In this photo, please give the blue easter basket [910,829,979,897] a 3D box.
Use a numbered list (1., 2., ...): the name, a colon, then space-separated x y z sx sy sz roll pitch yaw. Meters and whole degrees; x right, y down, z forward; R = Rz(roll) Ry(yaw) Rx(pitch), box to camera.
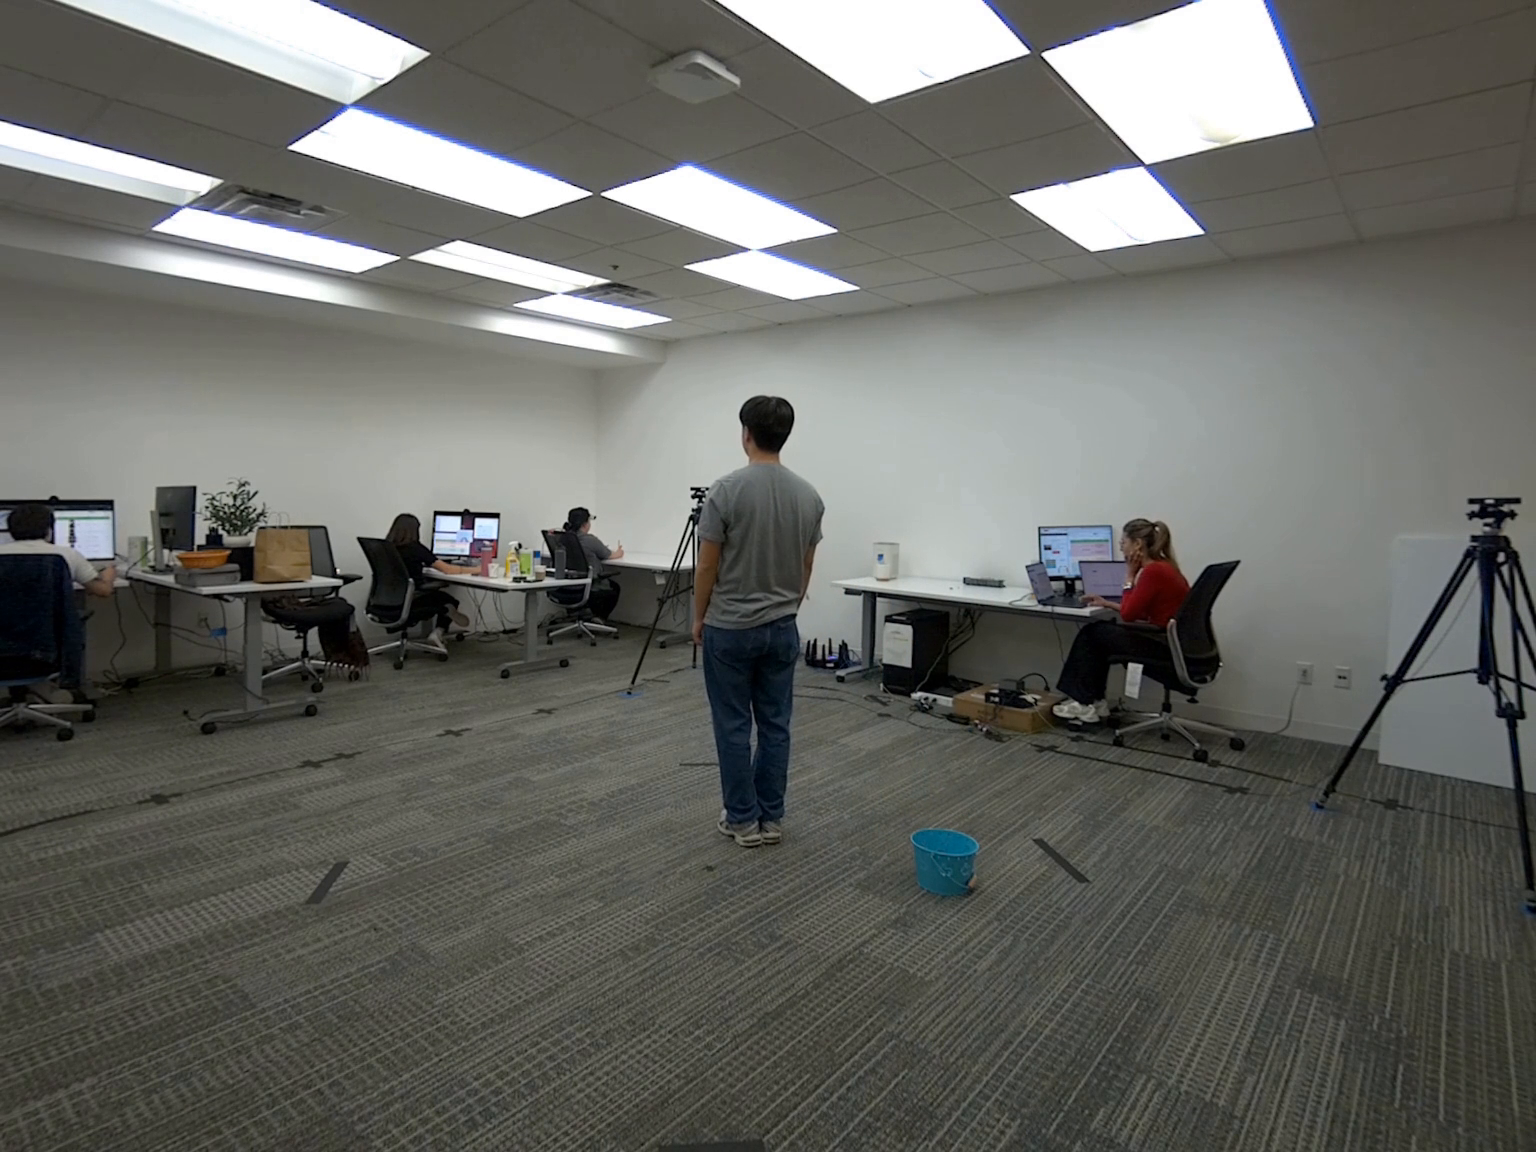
1. blue easter basket: 0.620 1.016 3.026 0.243 0.155 0.245 1 5 -2
